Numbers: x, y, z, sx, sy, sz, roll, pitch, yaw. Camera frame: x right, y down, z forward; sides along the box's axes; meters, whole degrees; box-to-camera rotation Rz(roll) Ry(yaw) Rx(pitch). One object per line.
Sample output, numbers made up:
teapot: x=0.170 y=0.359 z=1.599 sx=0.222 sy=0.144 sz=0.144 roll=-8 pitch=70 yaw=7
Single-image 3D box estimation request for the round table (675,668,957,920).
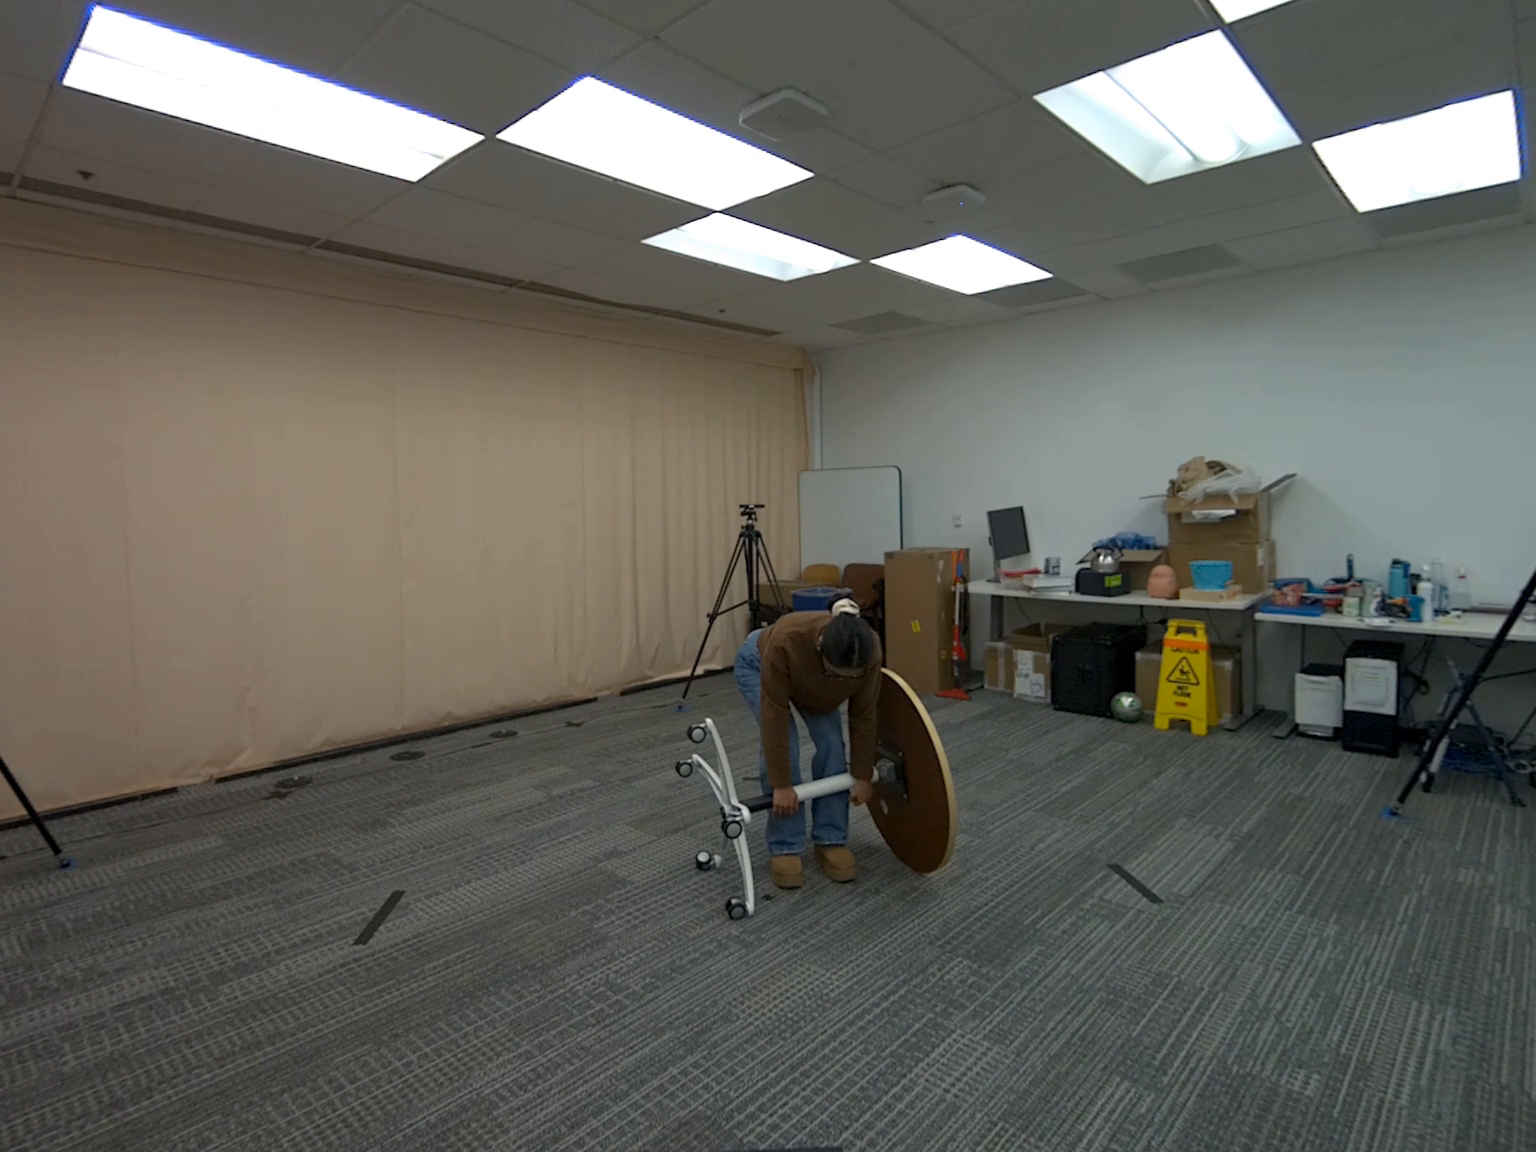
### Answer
round table: x=0.128 y=0.803 z=3.108 sx=0.782 sy=0.760 sz=0.779 roll=-10 pitch=6 yaw=-16
